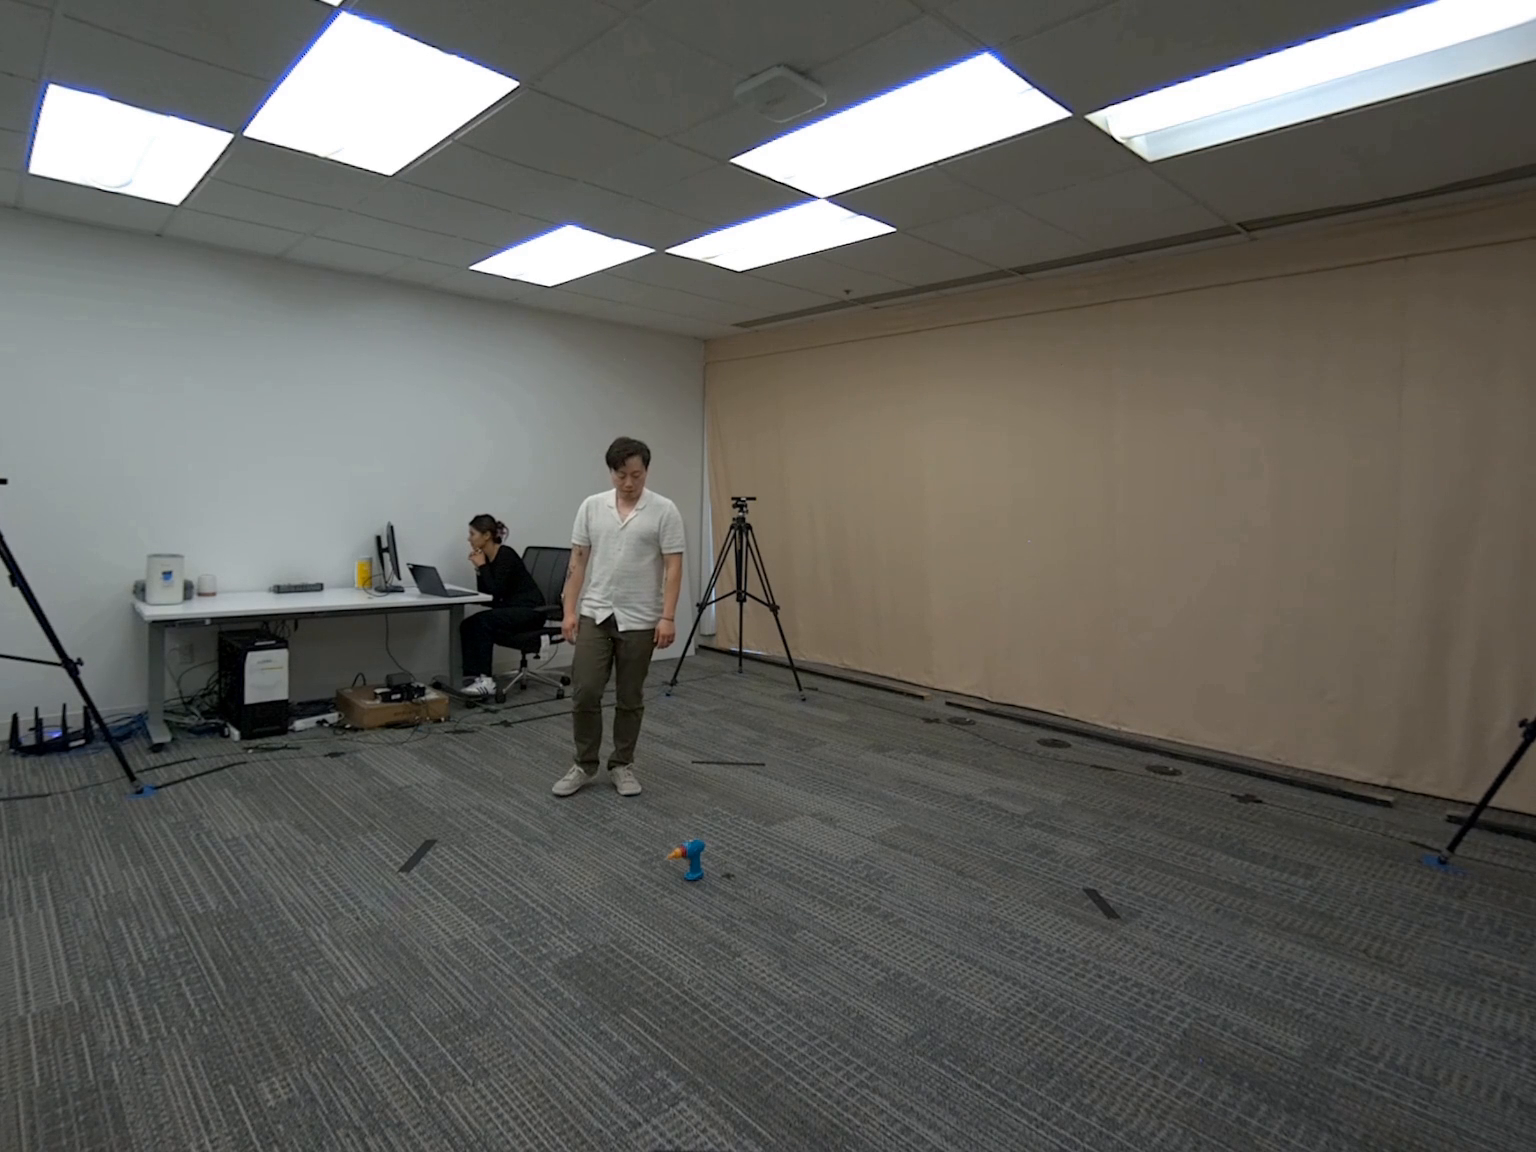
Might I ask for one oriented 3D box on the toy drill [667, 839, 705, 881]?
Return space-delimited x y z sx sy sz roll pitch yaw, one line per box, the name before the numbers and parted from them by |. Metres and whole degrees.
toy drill | -0.306 1.040 3.050 0.166 0.145 0.063 -6 7 -43
